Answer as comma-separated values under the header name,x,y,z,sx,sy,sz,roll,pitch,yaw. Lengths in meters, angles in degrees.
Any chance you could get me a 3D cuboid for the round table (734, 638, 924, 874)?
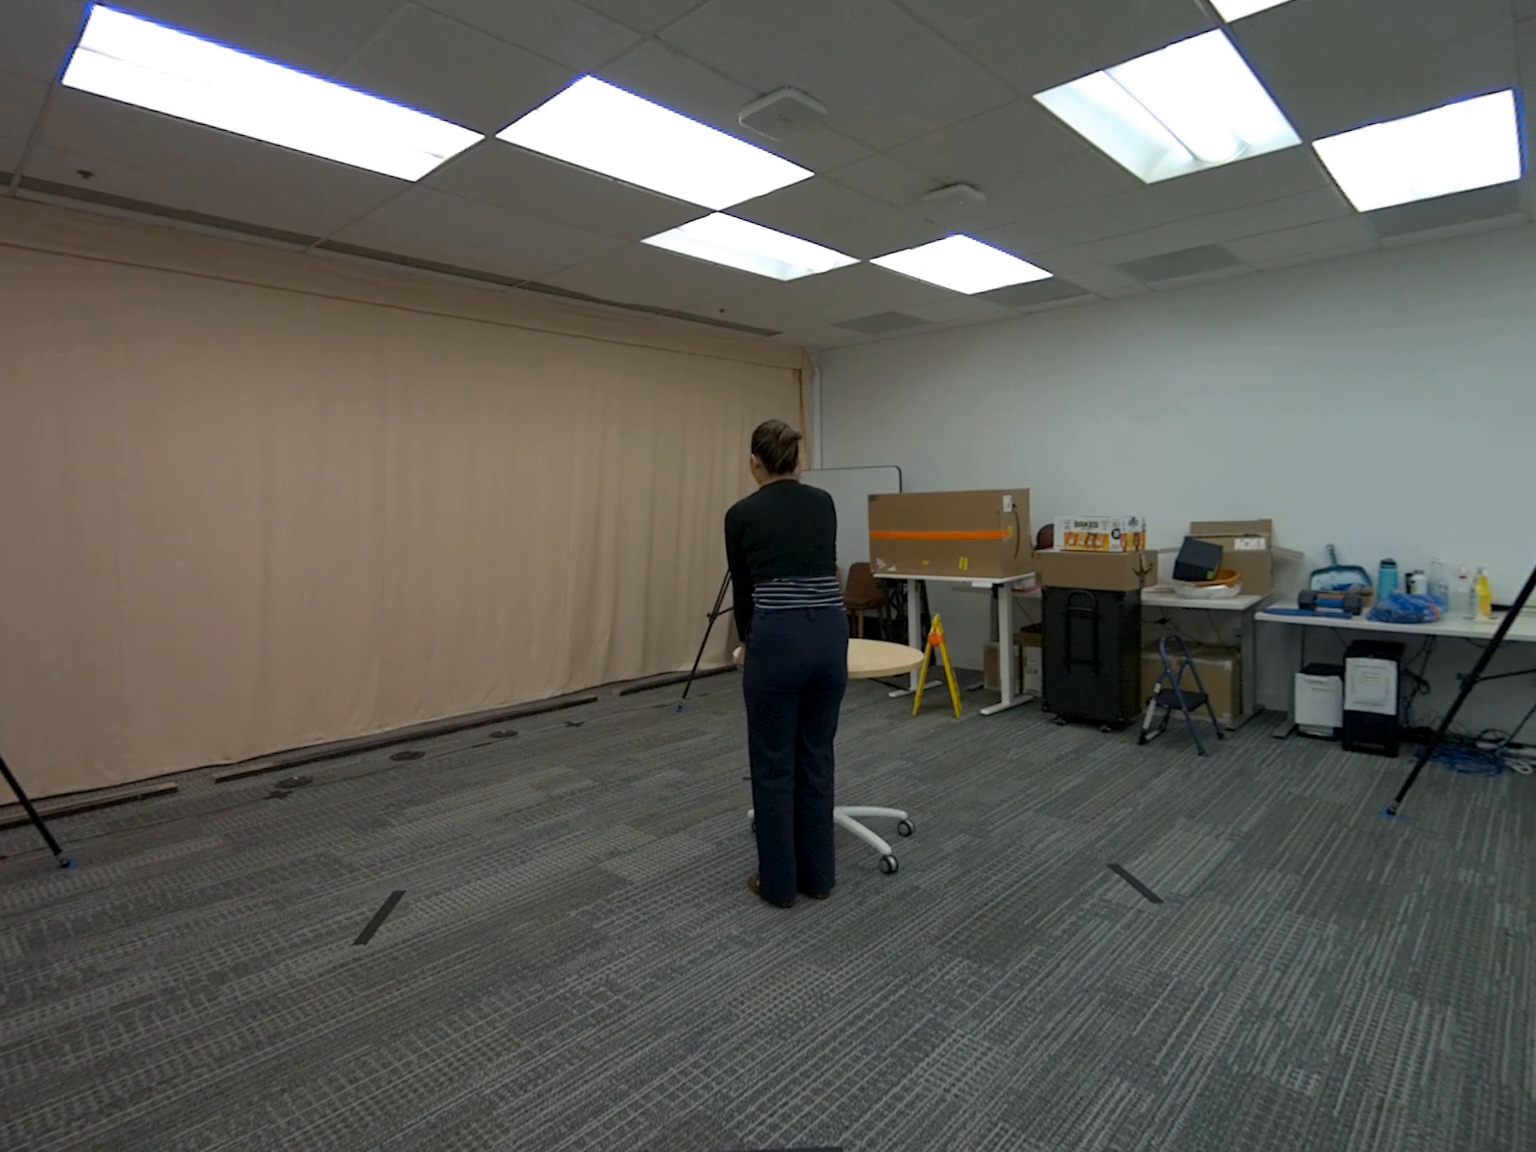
name,x,y,z,sx,sy,sz,roll,pitch,yaw
round table,0.252,0.707,3.447,0.763,0.792,0.767,-1,4,-2
